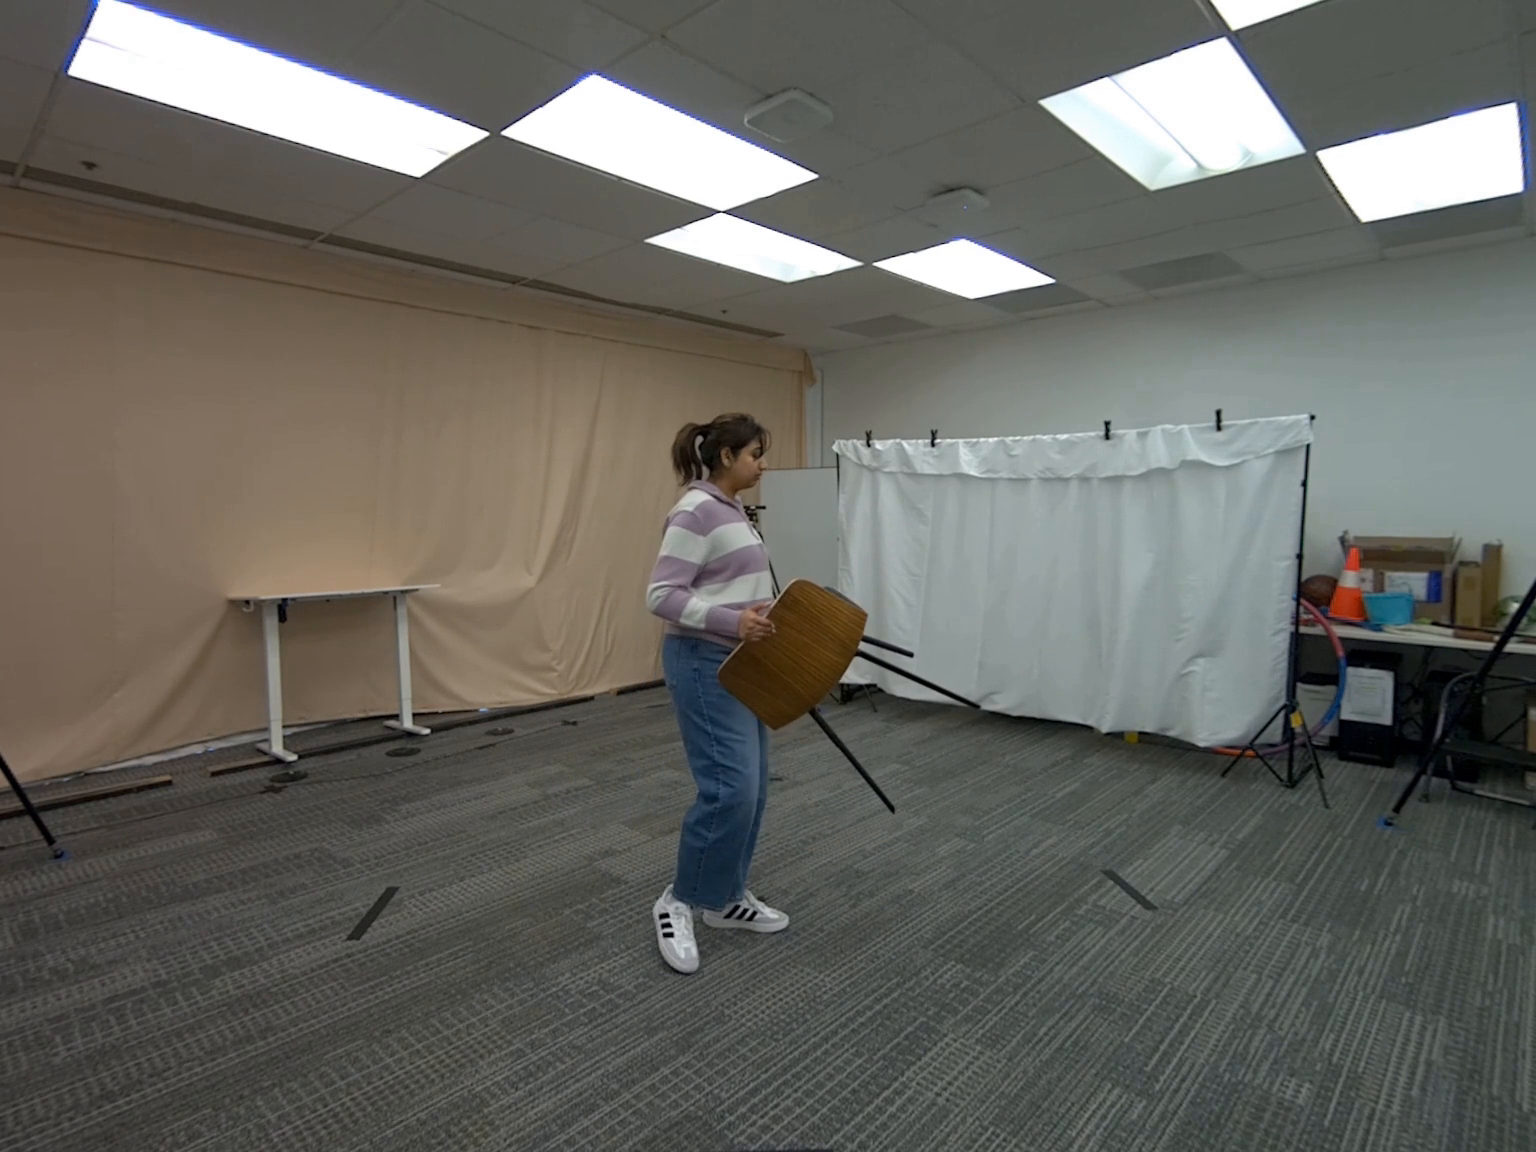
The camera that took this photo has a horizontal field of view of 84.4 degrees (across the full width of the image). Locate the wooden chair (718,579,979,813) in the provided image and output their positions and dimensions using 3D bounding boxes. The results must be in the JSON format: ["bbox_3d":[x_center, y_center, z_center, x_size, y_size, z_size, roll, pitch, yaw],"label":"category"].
[{"bbox_3d":[0.165,0.298,2.777,0.851,0.478,0.539,37,2,-28],"label":"wooden chair"}]
